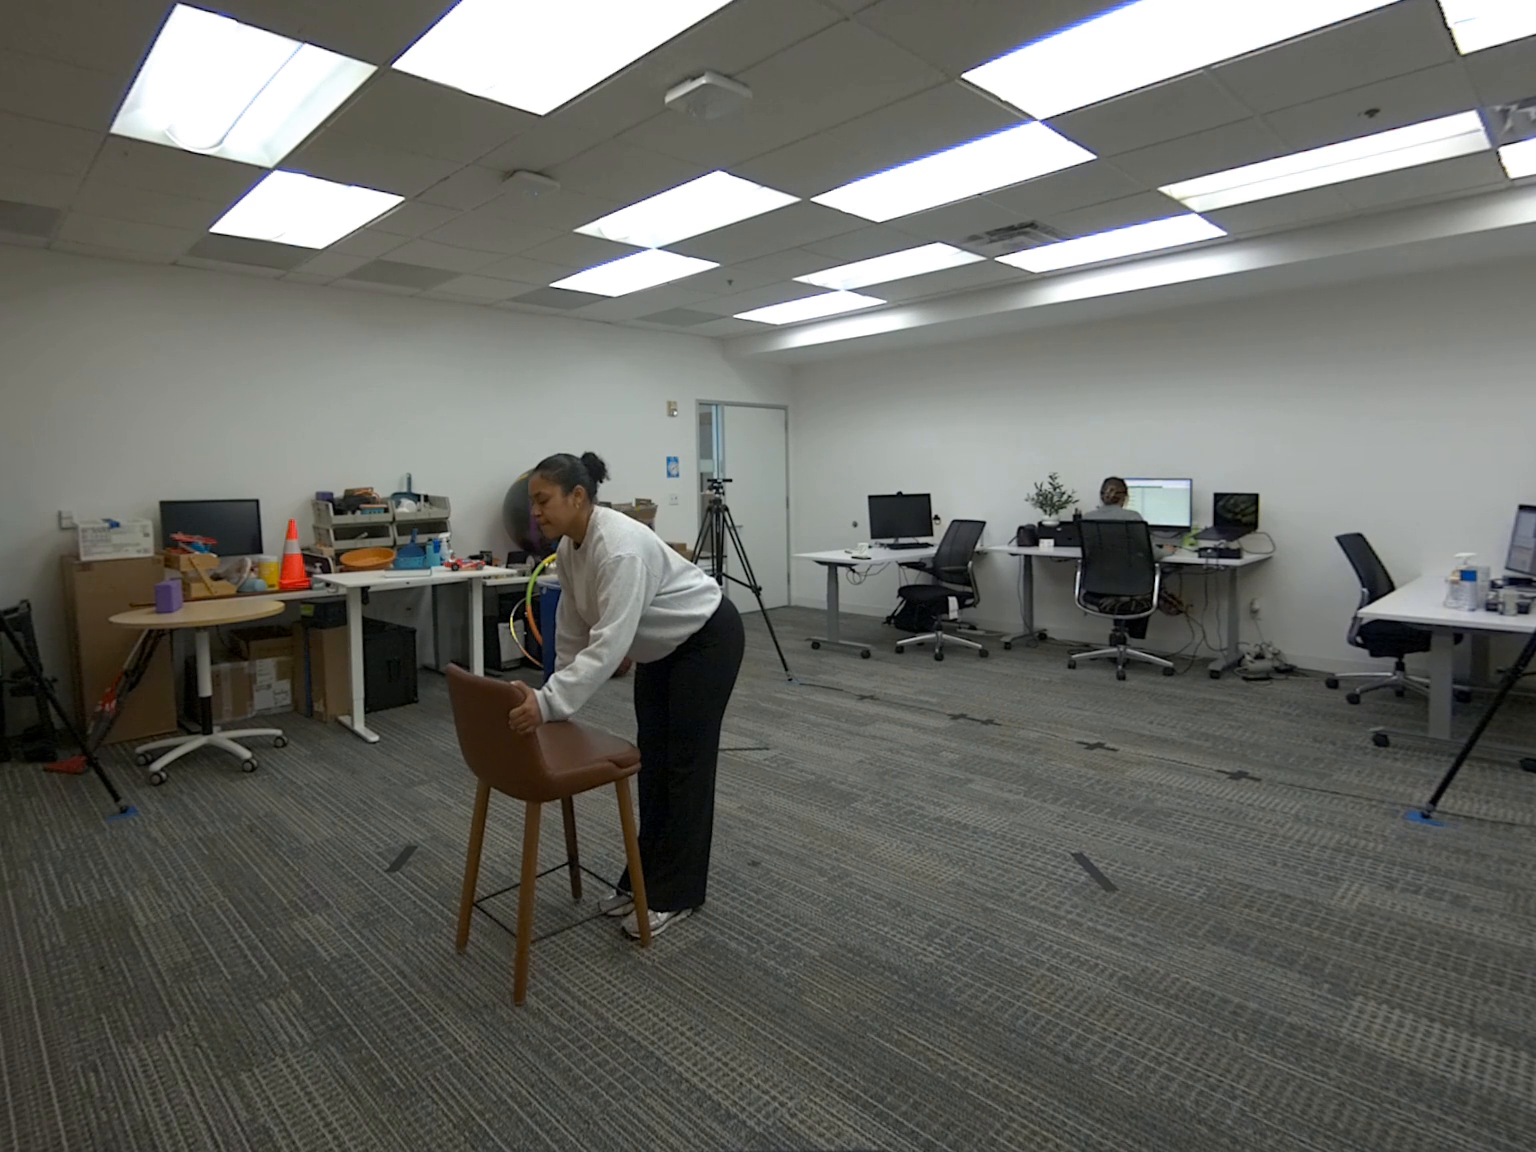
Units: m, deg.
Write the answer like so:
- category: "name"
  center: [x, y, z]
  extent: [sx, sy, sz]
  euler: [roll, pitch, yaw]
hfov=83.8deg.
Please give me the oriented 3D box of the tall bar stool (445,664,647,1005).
- category: "tall bar stool"
  center: [-0.652, 0.669, 2.534]
  extent: [0.455, 0.885, 0.471]
  euler: [-6, 8, -43]
